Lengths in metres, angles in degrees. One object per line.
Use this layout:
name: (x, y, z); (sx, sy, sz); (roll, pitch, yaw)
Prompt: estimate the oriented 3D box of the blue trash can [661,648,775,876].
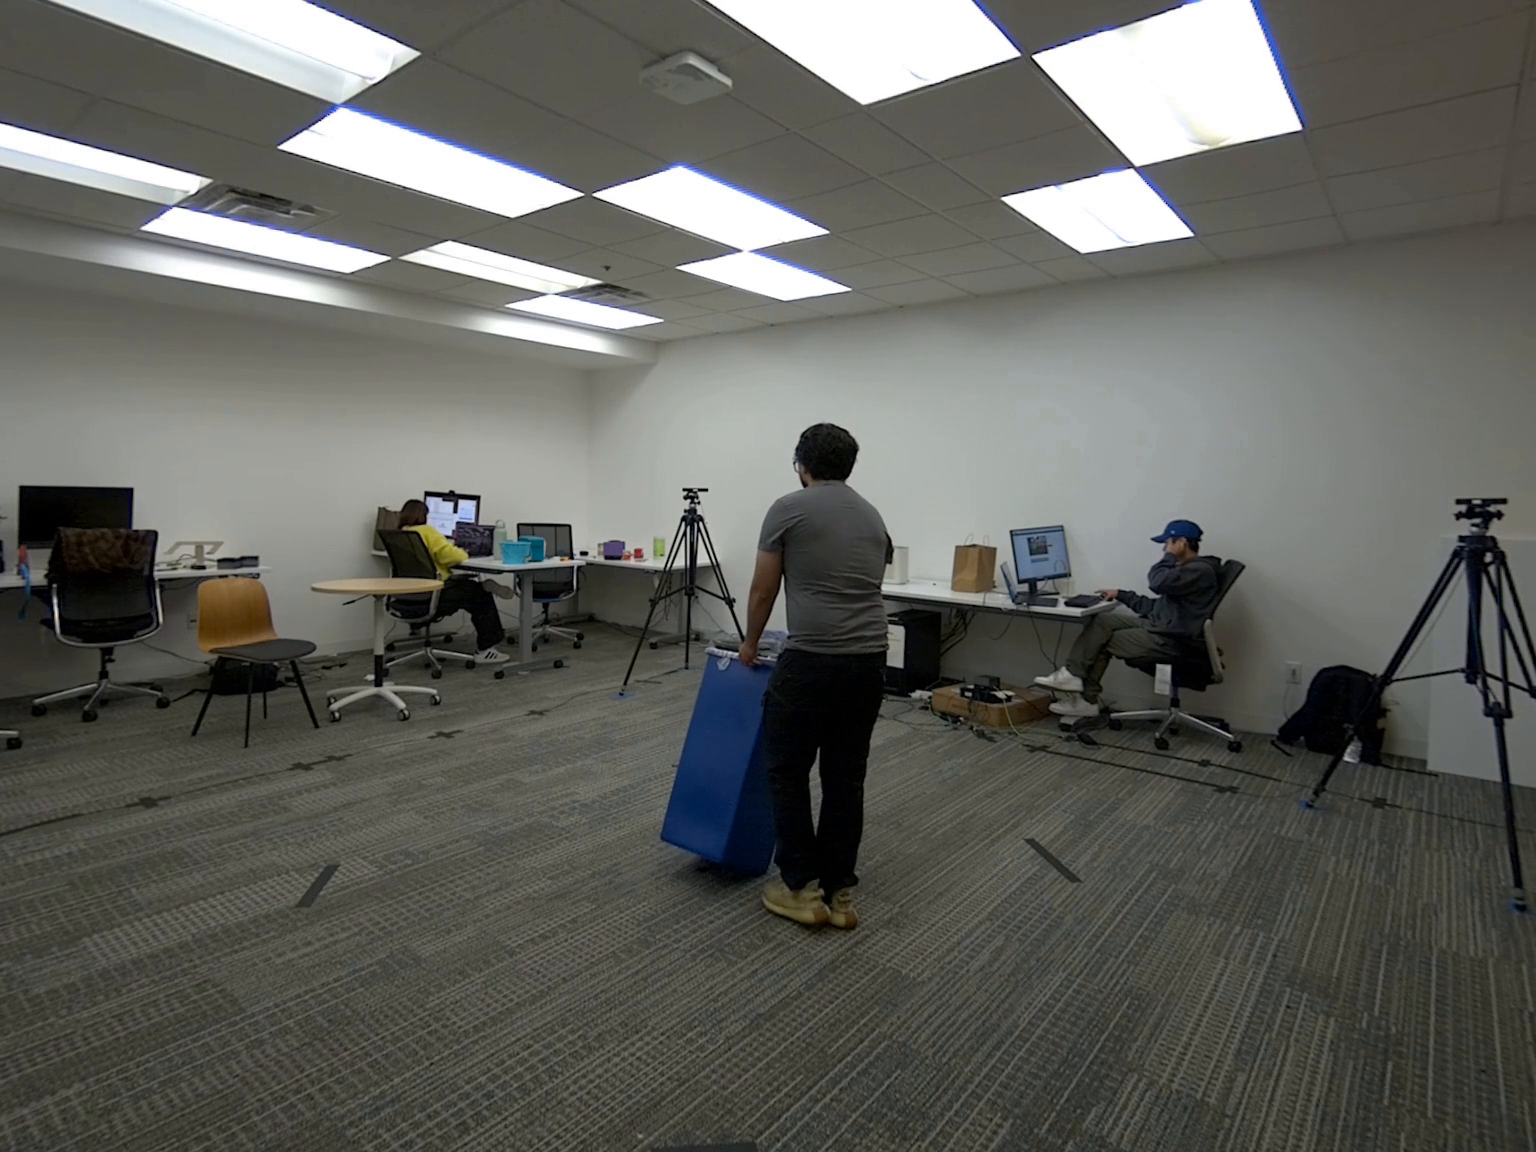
blue trash can: (-0.118, 0.678, 3.181); (0.387, 0.720, 0.362); (5, -19, 37)
